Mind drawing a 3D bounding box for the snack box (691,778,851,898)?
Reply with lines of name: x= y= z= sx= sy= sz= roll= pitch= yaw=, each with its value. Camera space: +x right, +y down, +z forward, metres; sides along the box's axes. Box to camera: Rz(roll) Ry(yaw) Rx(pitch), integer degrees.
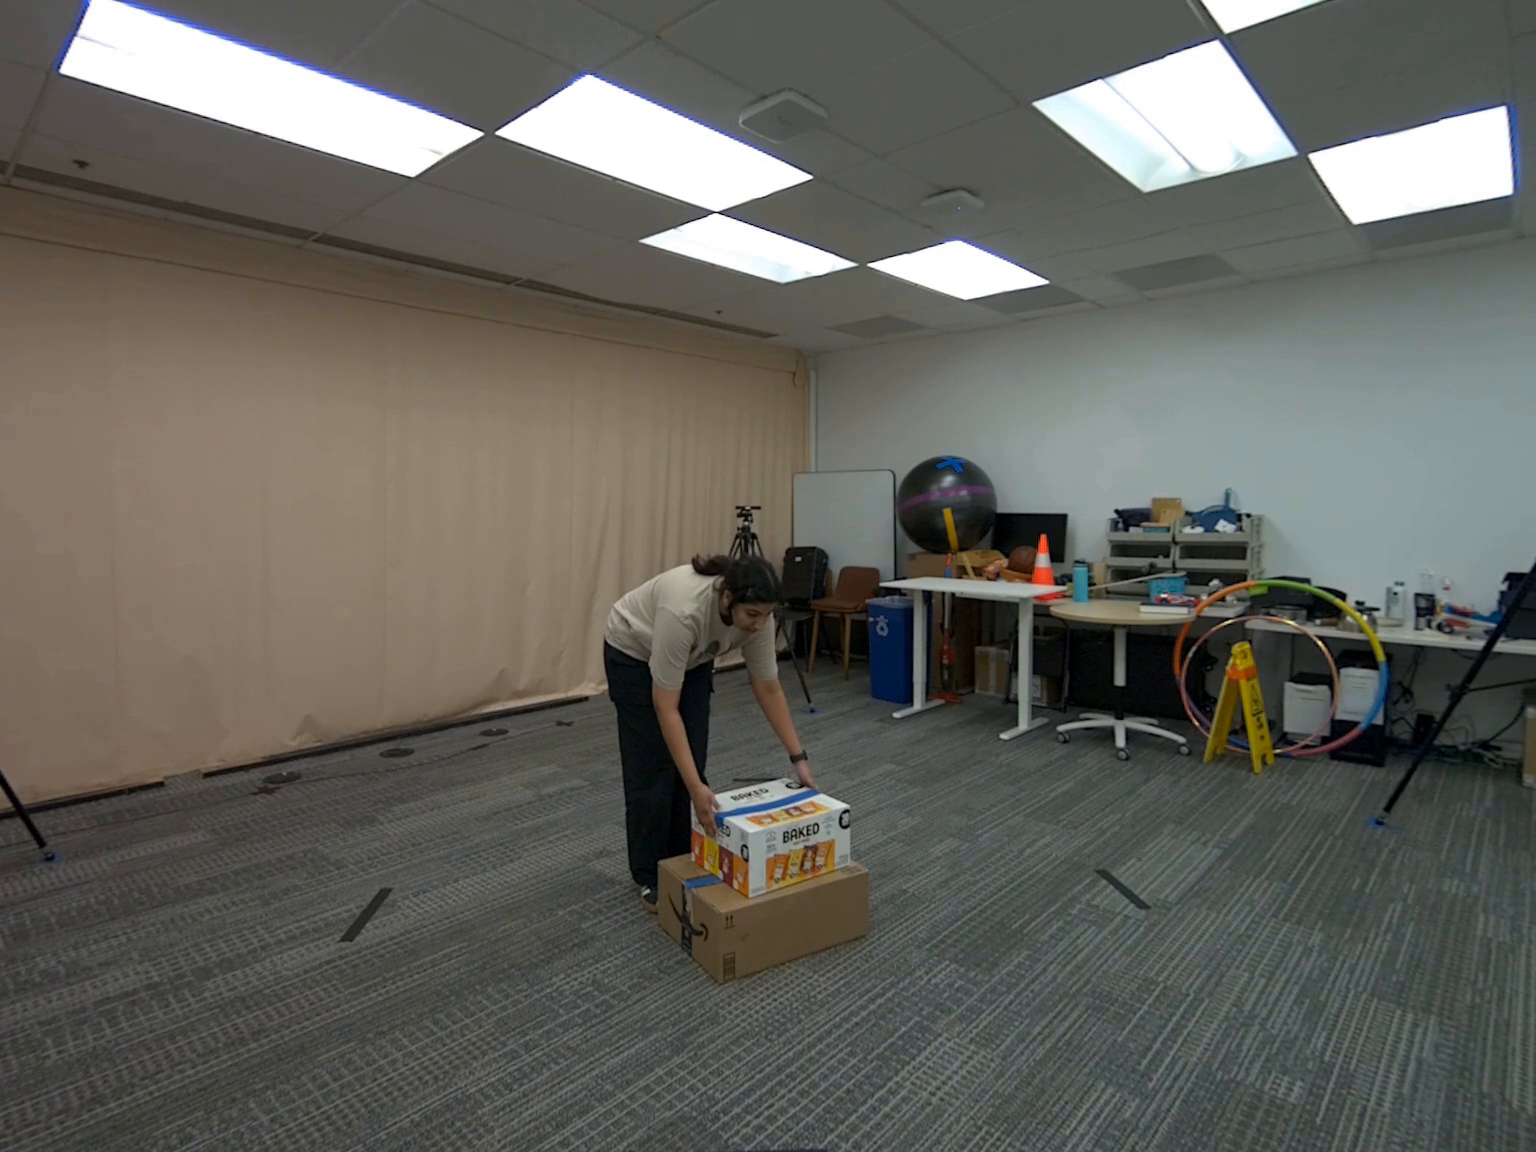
snack box: x=0.011 y=0.849 z=2.769 sx=0.393 sy=0.205 sz=0.351 roll=-4 pitch=6 yaw=-35
